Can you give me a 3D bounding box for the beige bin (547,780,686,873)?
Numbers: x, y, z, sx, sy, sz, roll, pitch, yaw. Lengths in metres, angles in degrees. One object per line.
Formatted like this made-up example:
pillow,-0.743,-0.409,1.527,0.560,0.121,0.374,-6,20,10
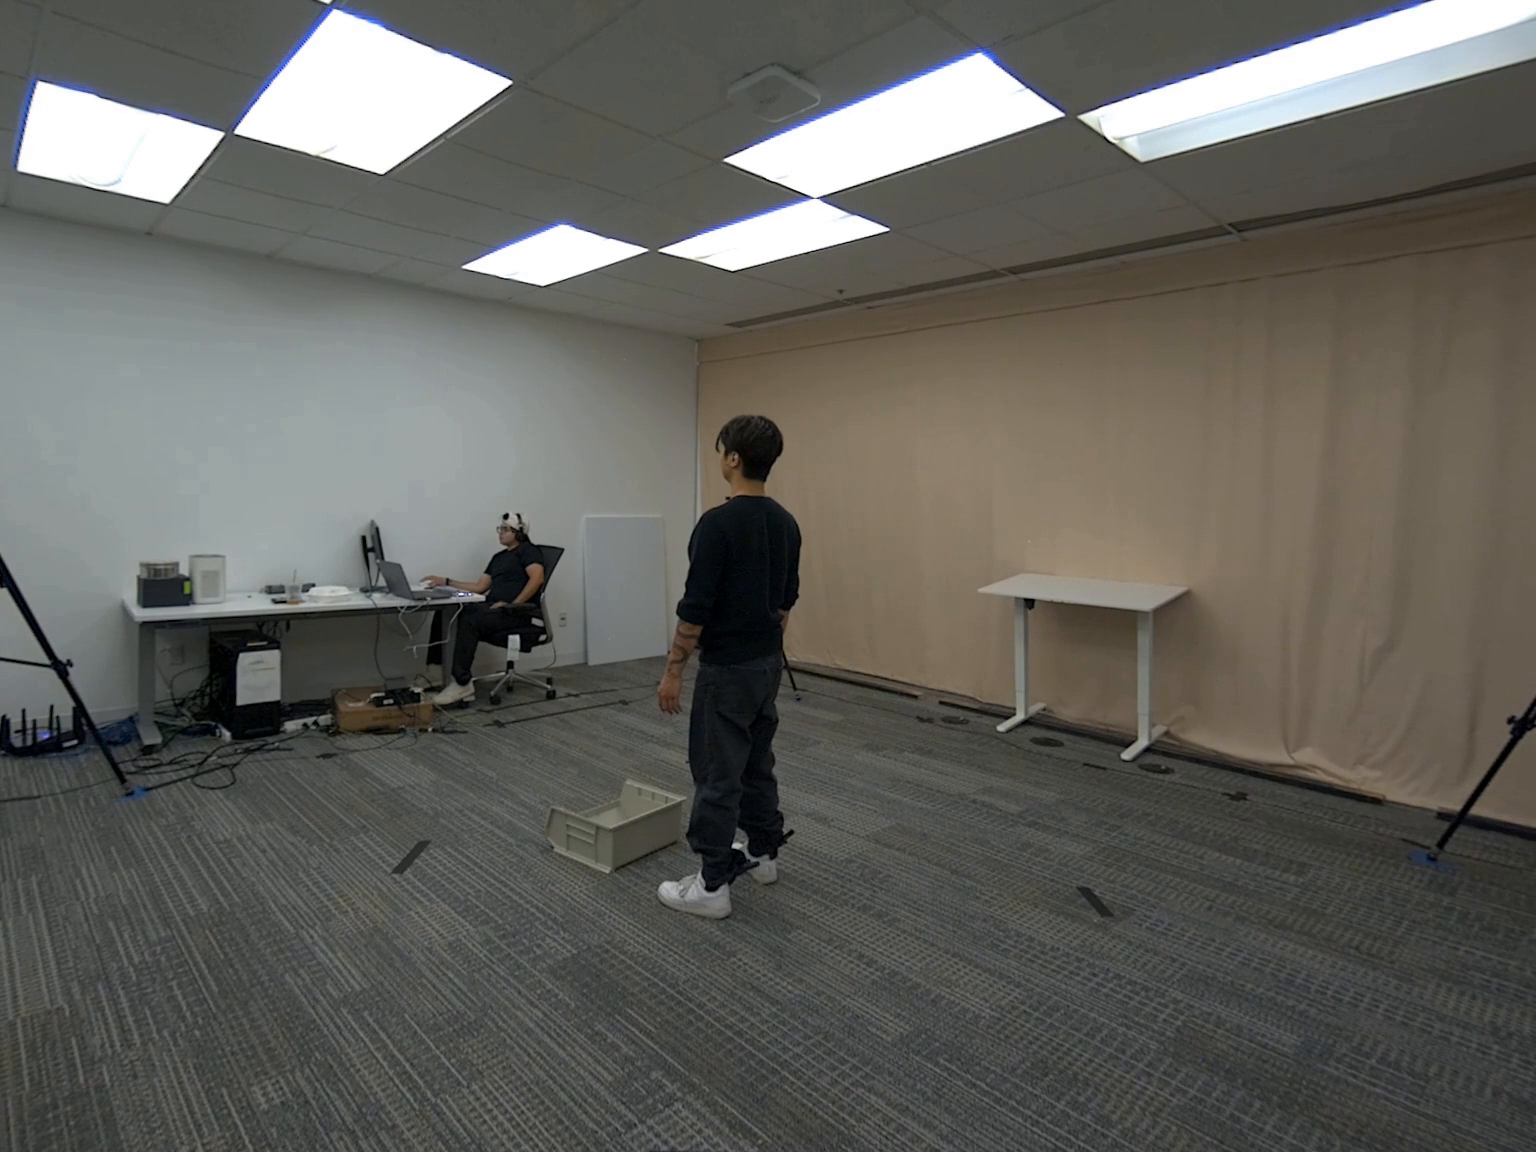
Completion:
beige bin,-0.611,0.985,3.360,0.387,0.188,0.413,6,6,37
